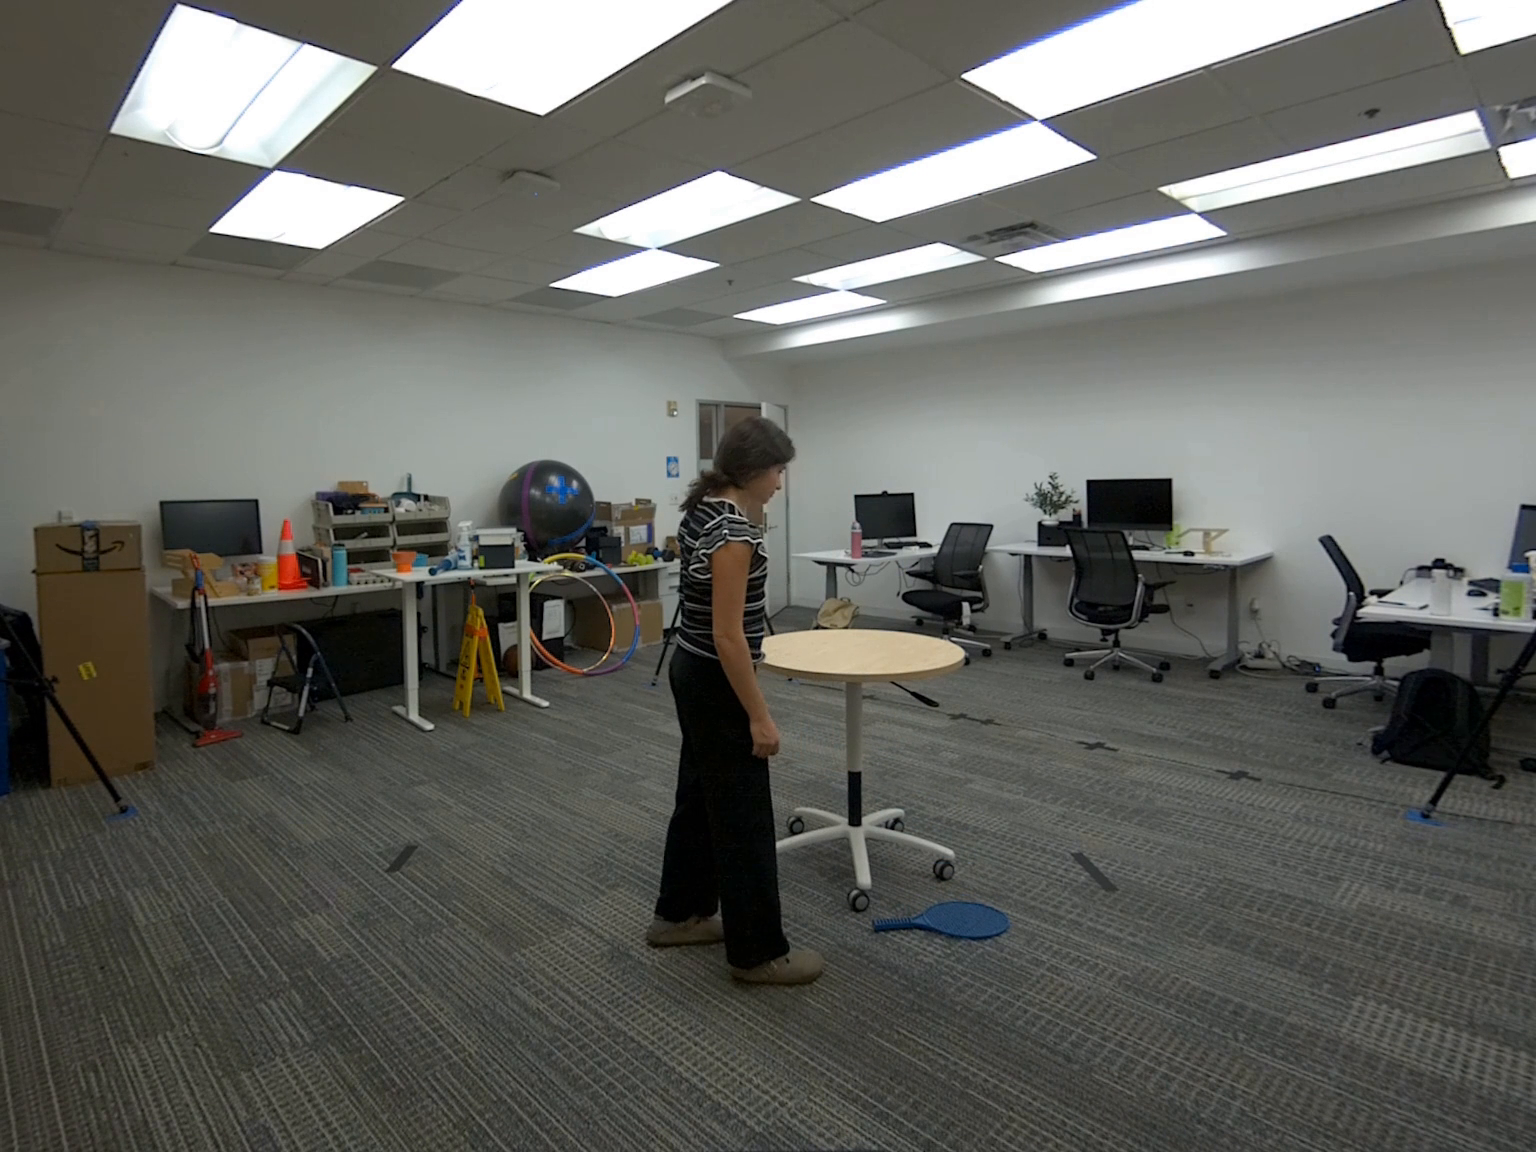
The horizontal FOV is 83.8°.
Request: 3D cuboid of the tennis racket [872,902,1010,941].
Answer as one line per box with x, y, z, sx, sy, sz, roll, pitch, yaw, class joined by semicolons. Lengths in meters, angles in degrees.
0.523;1.048;2.689;0.430;0.031;0.216;-1;7;-6;tennis racket
